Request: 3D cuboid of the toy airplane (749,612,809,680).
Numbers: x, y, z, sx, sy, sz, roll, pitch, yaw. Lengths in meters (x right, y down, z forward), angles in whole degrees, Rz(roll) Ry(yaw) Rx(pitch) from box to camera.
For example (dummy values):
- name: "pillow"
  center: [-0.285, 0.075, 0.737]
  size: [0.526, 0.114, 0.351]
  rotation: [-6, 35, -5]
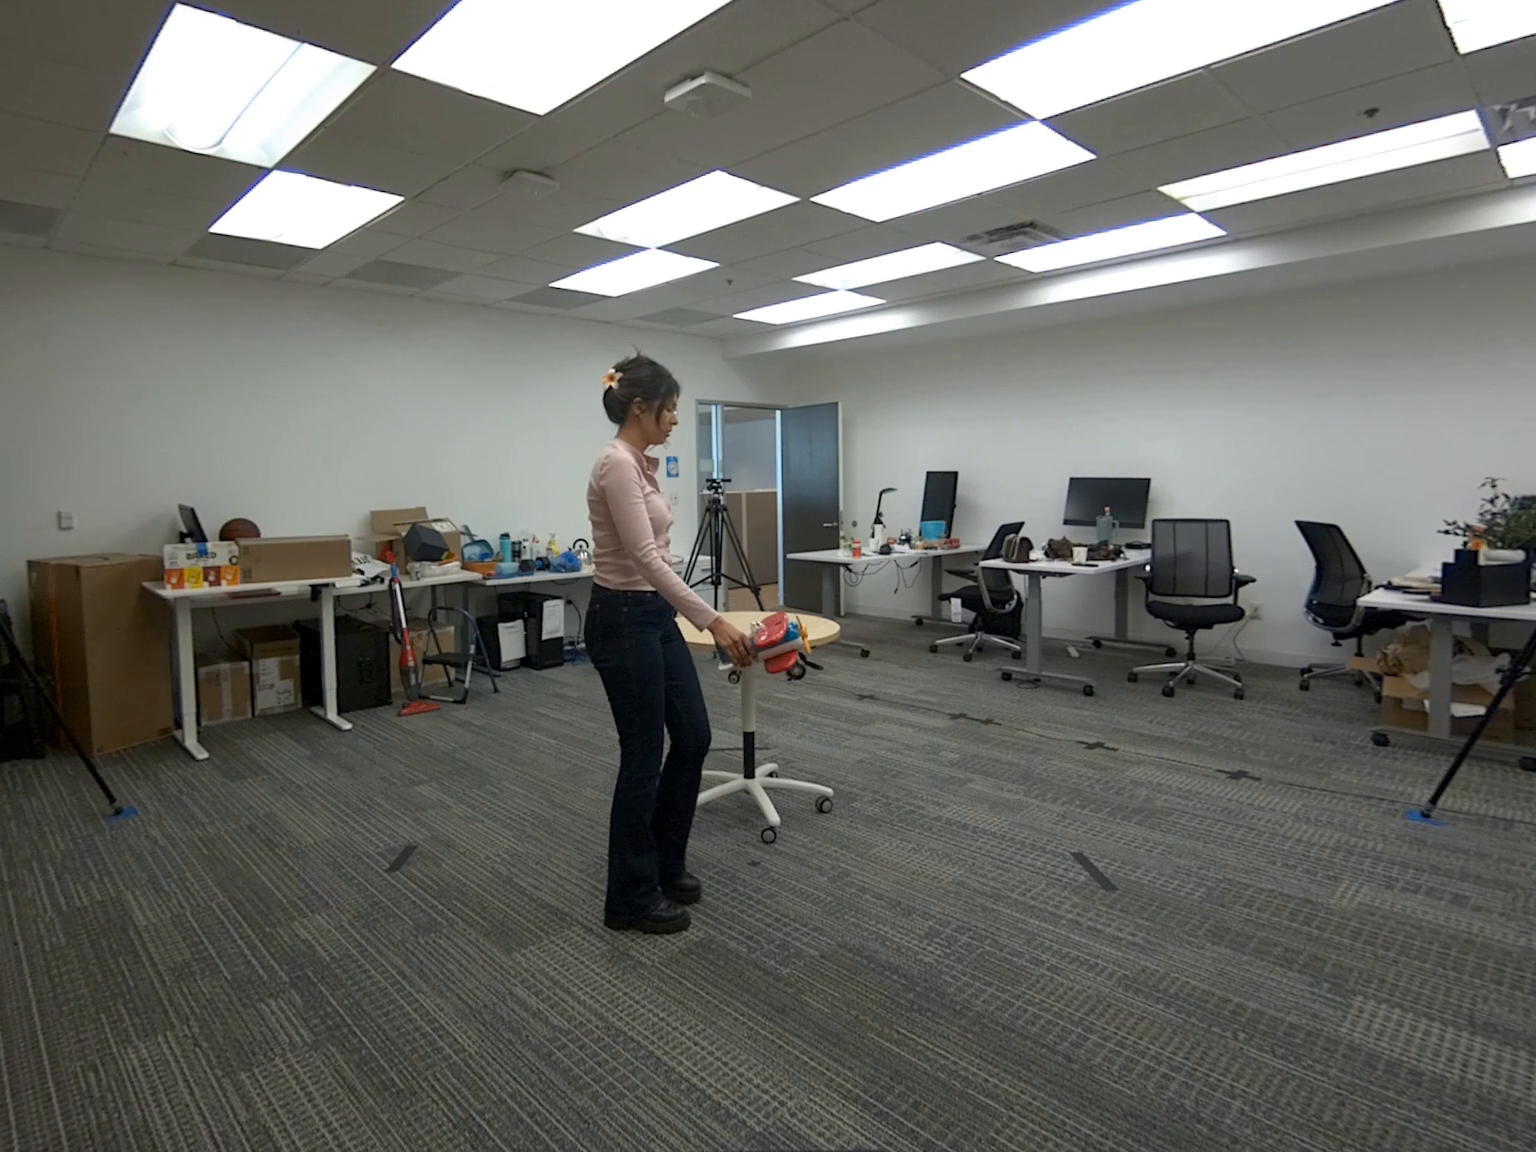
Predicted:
- name: "toy airplane"
  center: [-0.011, 0.213, 2.361]
  size: [0.255, 0.154, 0.258]
  rotation: [-13, 15, -21]
